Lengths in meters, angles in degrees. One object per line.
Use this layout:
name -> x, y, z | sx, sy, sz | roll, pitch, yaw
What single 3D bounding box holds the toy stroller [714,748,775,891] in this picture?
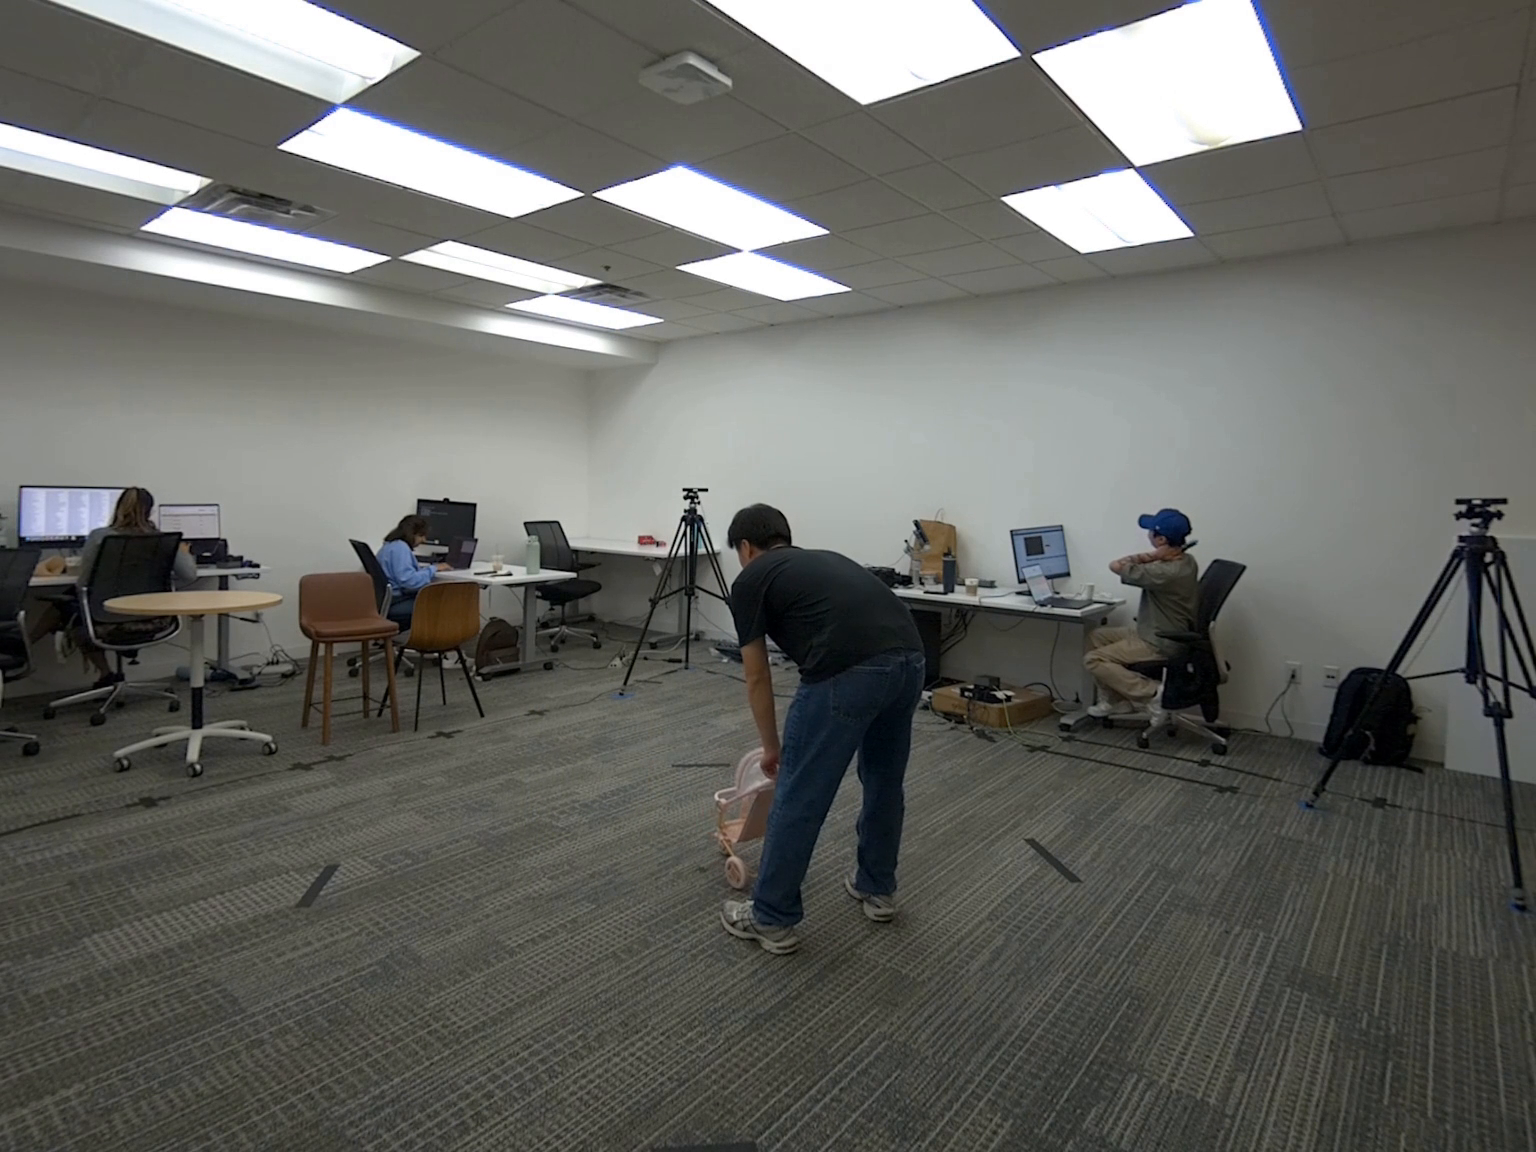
toy stroller -> -0.055, 0.851, 3.078 | 0.274, 0.528, 0.355 | 0, 20, -32
